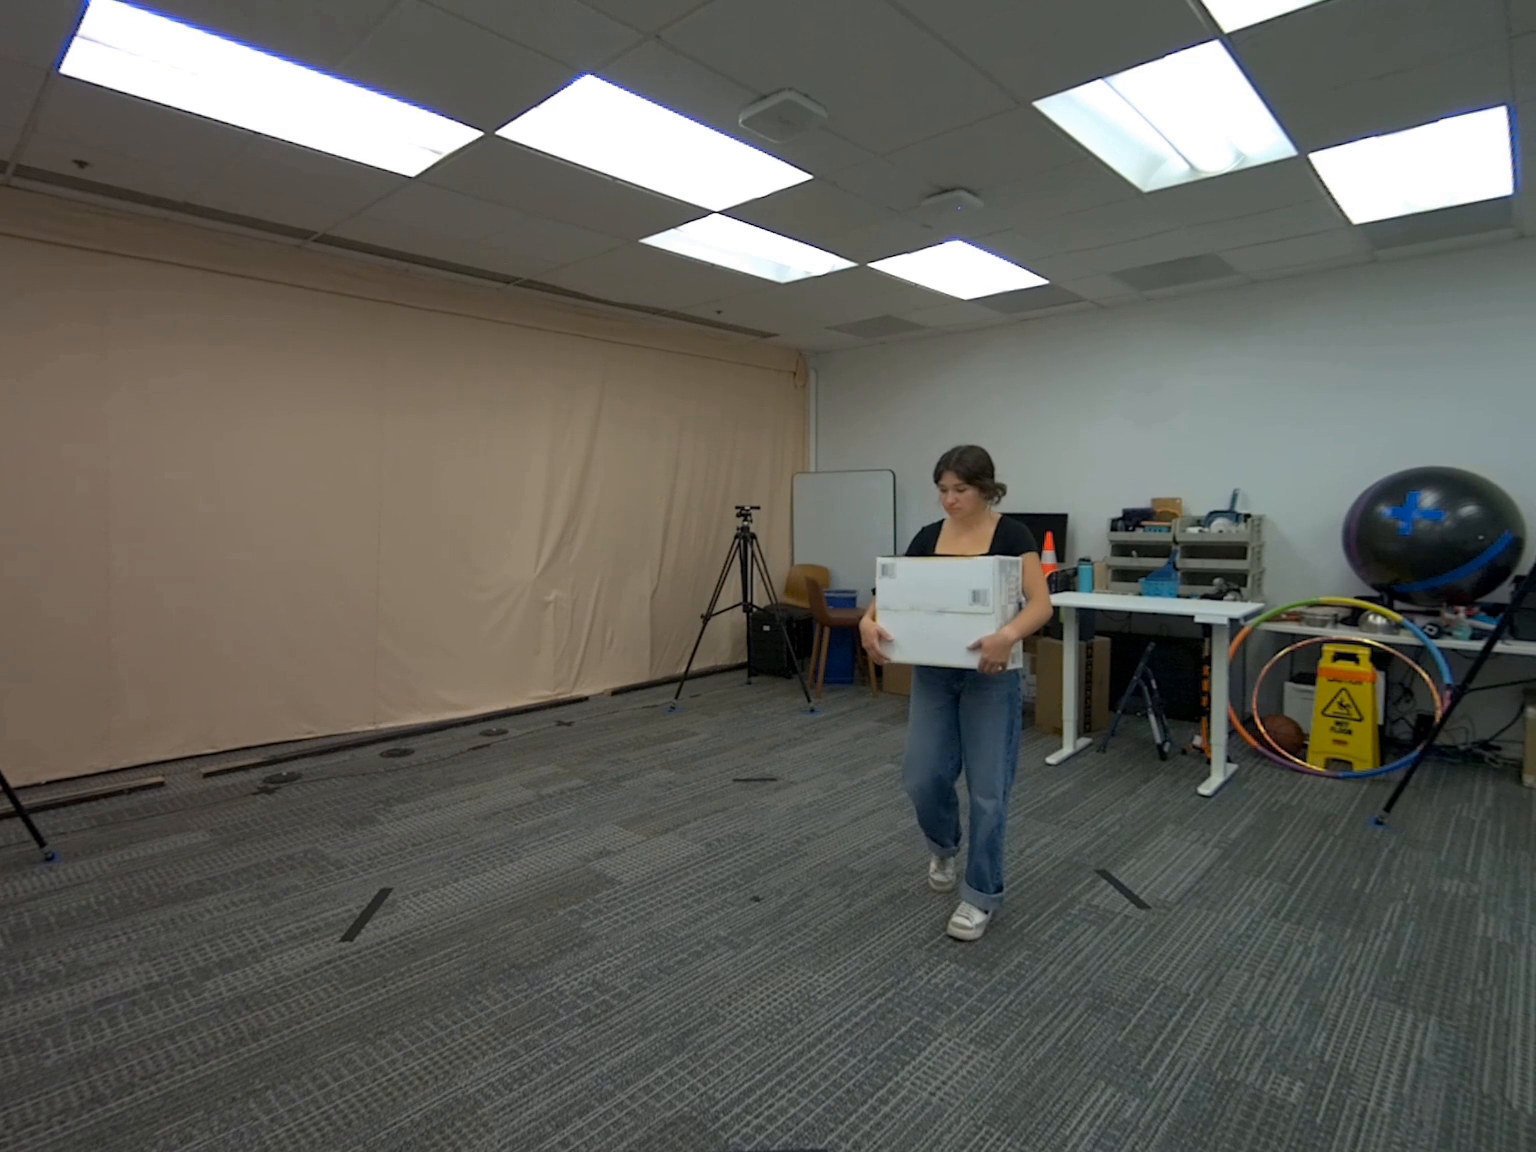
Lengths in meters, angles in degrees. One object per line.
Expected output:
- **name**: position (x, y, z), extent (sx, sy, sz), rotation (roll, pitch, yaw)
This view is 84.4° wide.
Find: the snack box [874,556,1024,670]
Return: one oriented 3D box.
- **snack box**: position (0.563, 0.114, 2.669), extent (0.418, 0.341, 0.199), rotation (-1, -3, 39)
